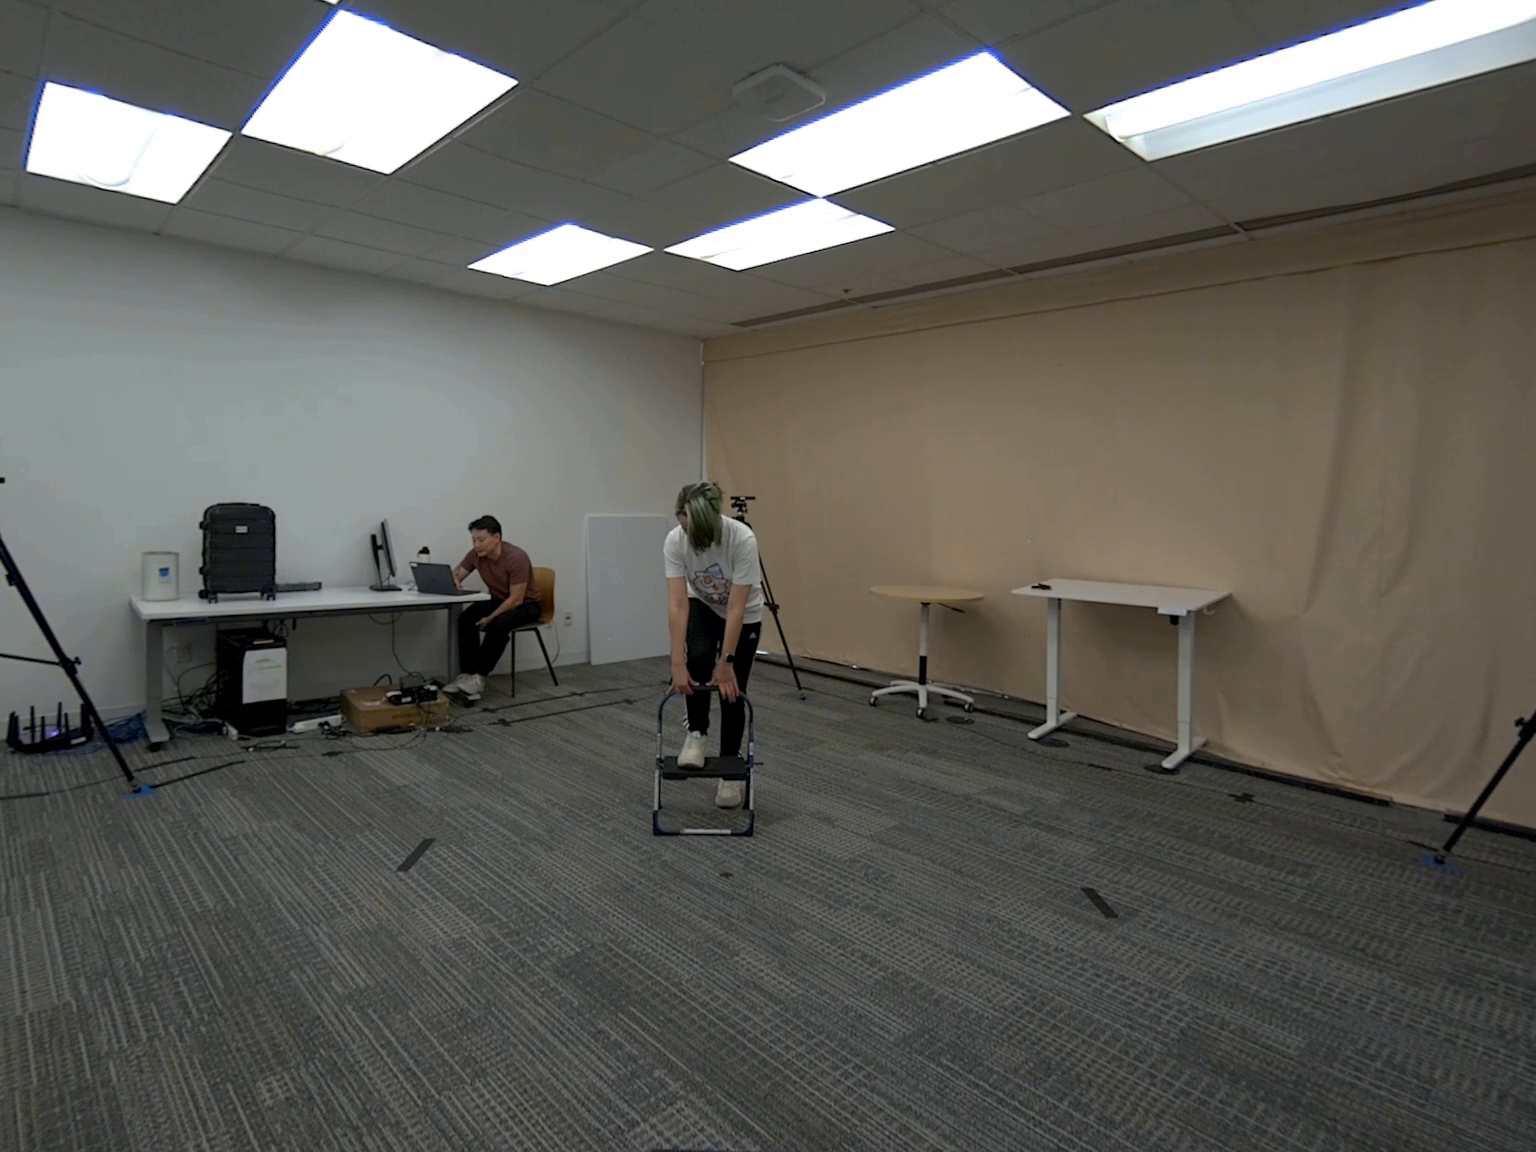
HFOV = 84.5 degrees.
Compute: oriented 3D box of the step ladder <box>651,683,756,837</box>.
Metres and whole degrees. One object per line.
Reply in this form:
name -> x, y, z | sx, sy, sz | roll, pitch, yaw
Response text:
step ladder -> -0.283, 0.759, 3.613 | 0.429, 0.605, 0.351 | 2, 3, -4
